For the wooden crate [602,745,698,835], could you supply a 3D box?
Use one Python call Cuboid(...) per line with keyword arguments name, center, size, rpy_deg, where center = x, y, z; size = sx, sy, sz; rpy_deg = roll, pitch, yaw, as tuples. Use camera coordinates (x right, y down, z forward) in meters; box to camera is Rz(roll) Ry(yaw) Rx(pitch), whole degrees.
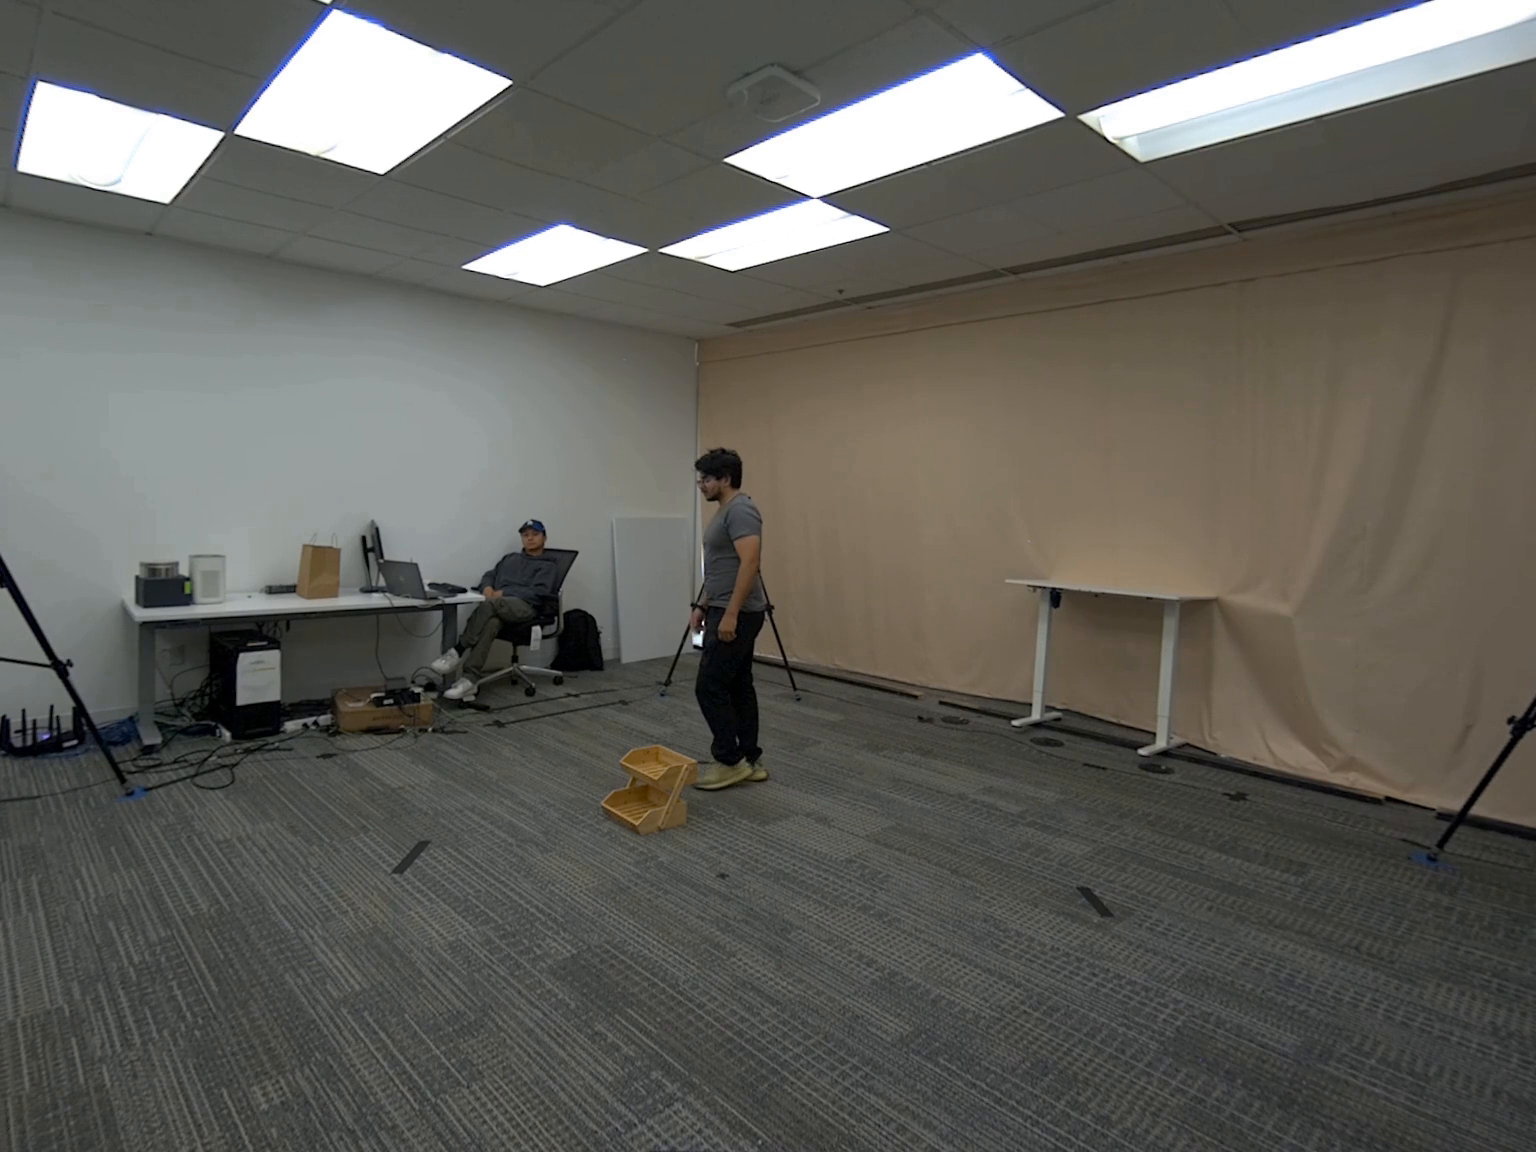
Cuboid(name="wooden crate", center=(-0.531, 0.918, 3.655), size=(0.295, 0.272, 0.333), rpy_deg=(-1, 5, -40))
